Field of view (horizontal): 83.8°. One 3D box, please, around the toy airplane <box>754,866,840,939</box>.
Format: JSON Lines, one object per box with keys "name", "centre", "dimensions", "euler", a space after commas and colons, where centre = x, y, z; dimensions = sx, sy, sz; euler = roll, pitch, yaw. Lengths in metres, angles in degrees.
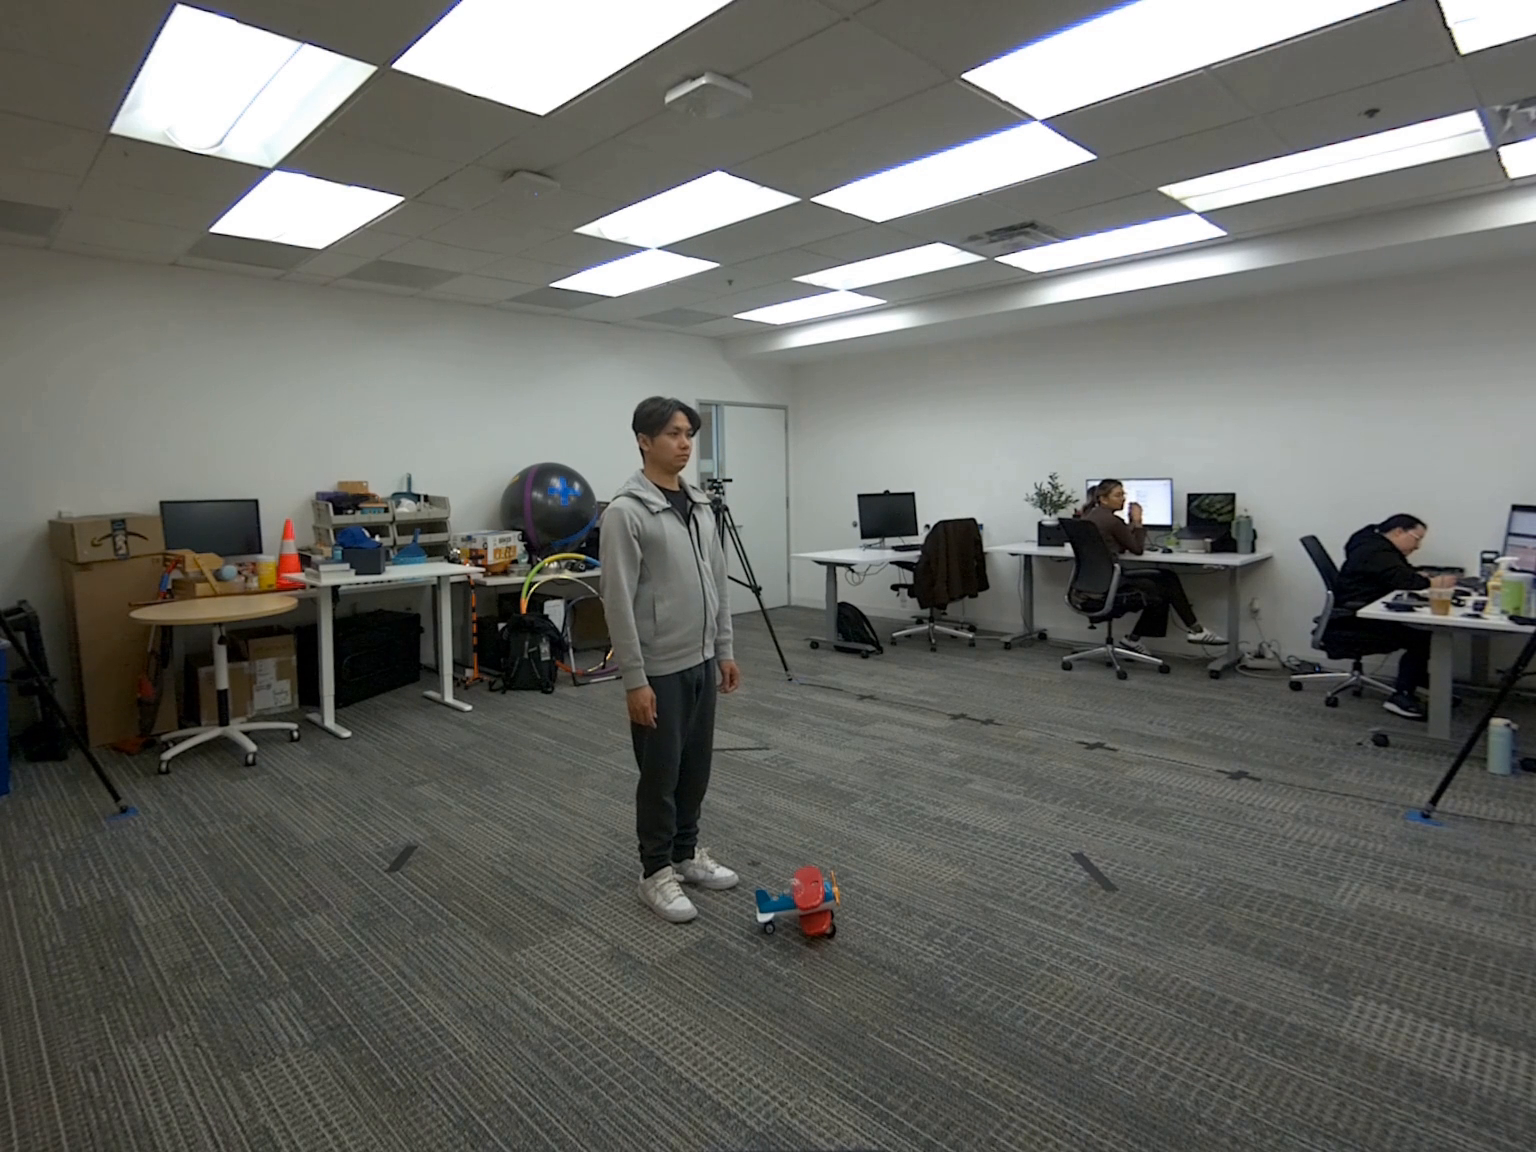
{"name": "toy airplane", "centre": [0.098, 1.020, 2.624], "dimensions": [0.254, 0.156, 0.258], "euler": [-4, 7, -26]}
